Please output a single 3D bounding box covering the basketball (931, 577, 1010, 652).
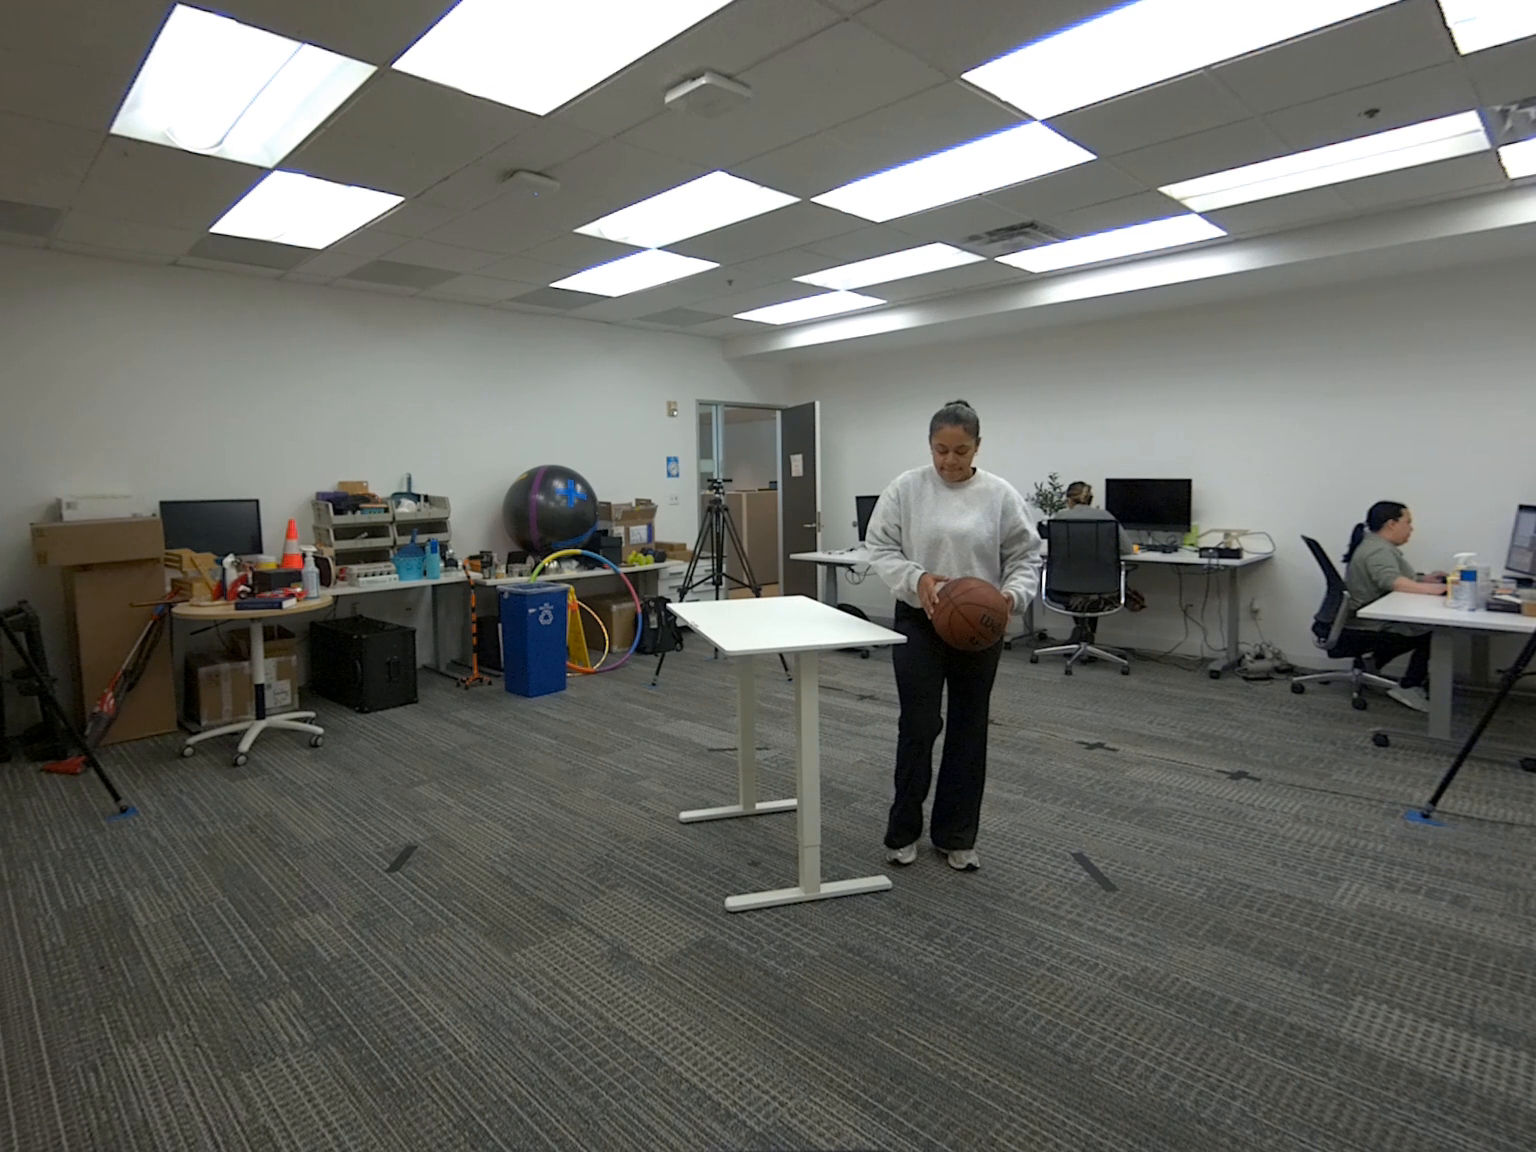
[{"bbox_3d":[0.638,0.118,2.757,0.236,0.235,0.237,-1,5,-2],"label":"basketball"}]
